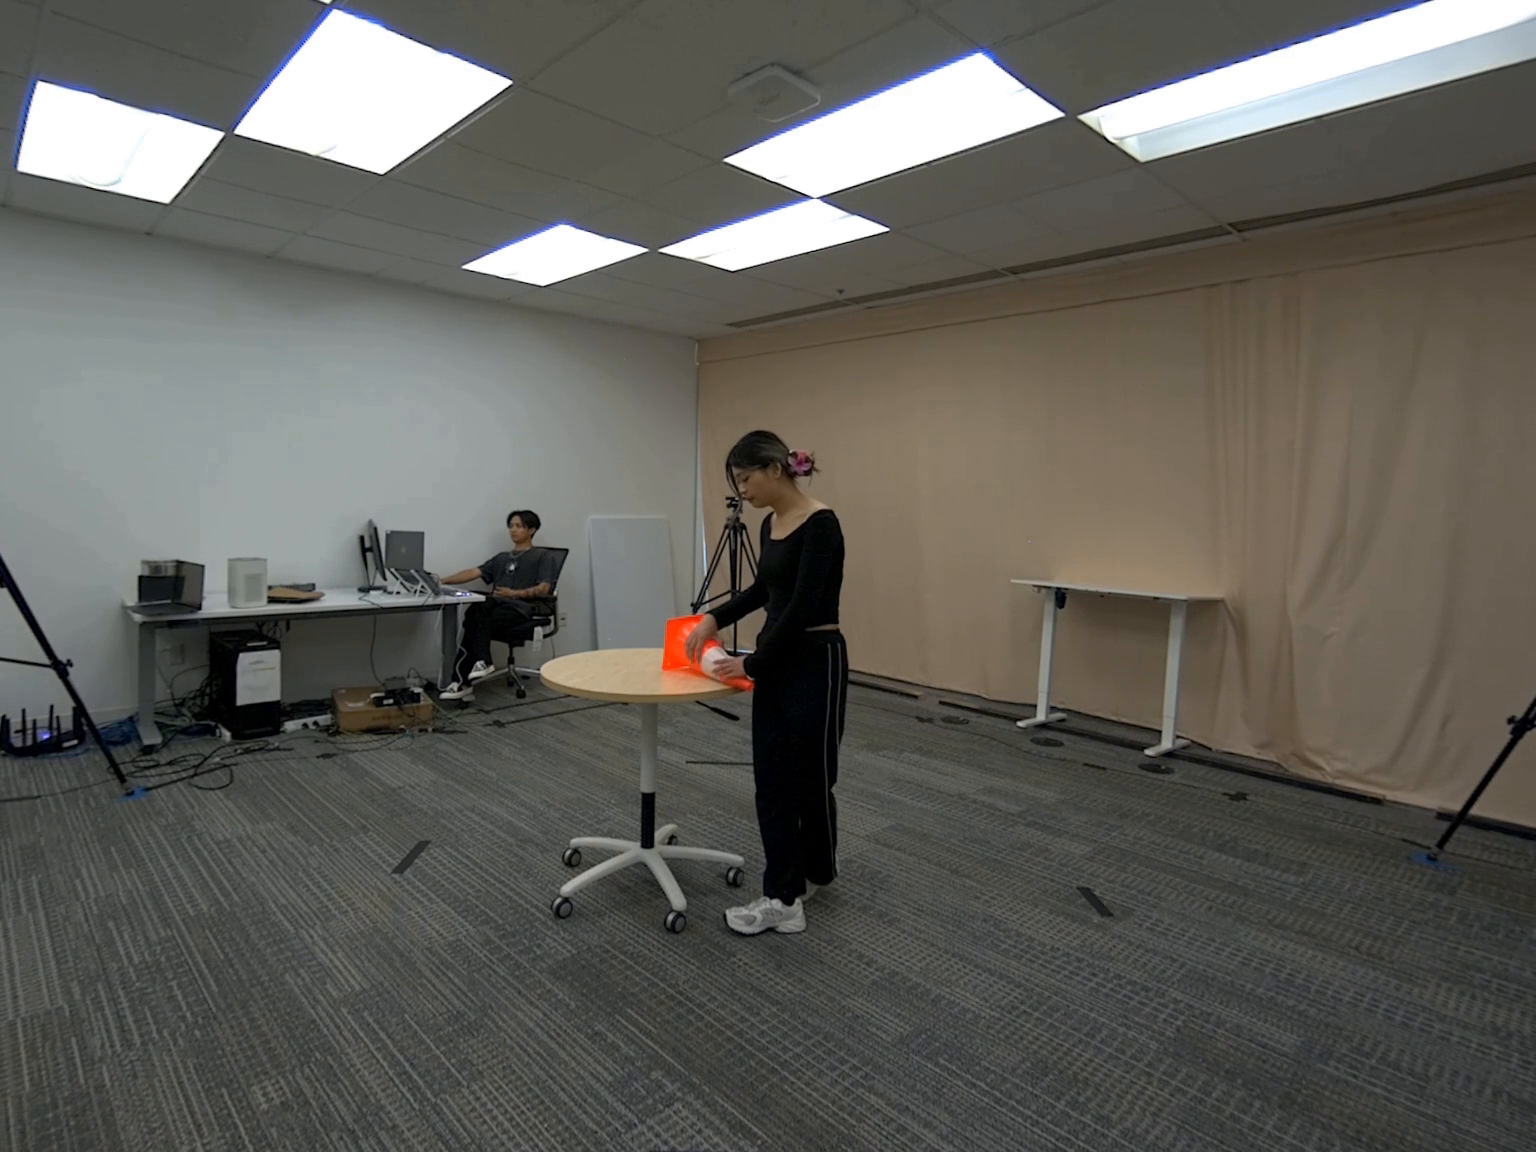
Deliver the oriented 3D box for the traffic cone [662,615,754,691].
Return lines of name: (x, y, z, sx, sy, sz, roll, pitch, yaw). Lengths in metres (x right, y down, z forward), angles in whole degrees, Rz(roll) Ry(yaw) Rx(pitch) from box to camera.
traffic cone: (-0.188, 0.295, 2.822, 0.199, 0.202, 0.395, -6, 22, -31)
